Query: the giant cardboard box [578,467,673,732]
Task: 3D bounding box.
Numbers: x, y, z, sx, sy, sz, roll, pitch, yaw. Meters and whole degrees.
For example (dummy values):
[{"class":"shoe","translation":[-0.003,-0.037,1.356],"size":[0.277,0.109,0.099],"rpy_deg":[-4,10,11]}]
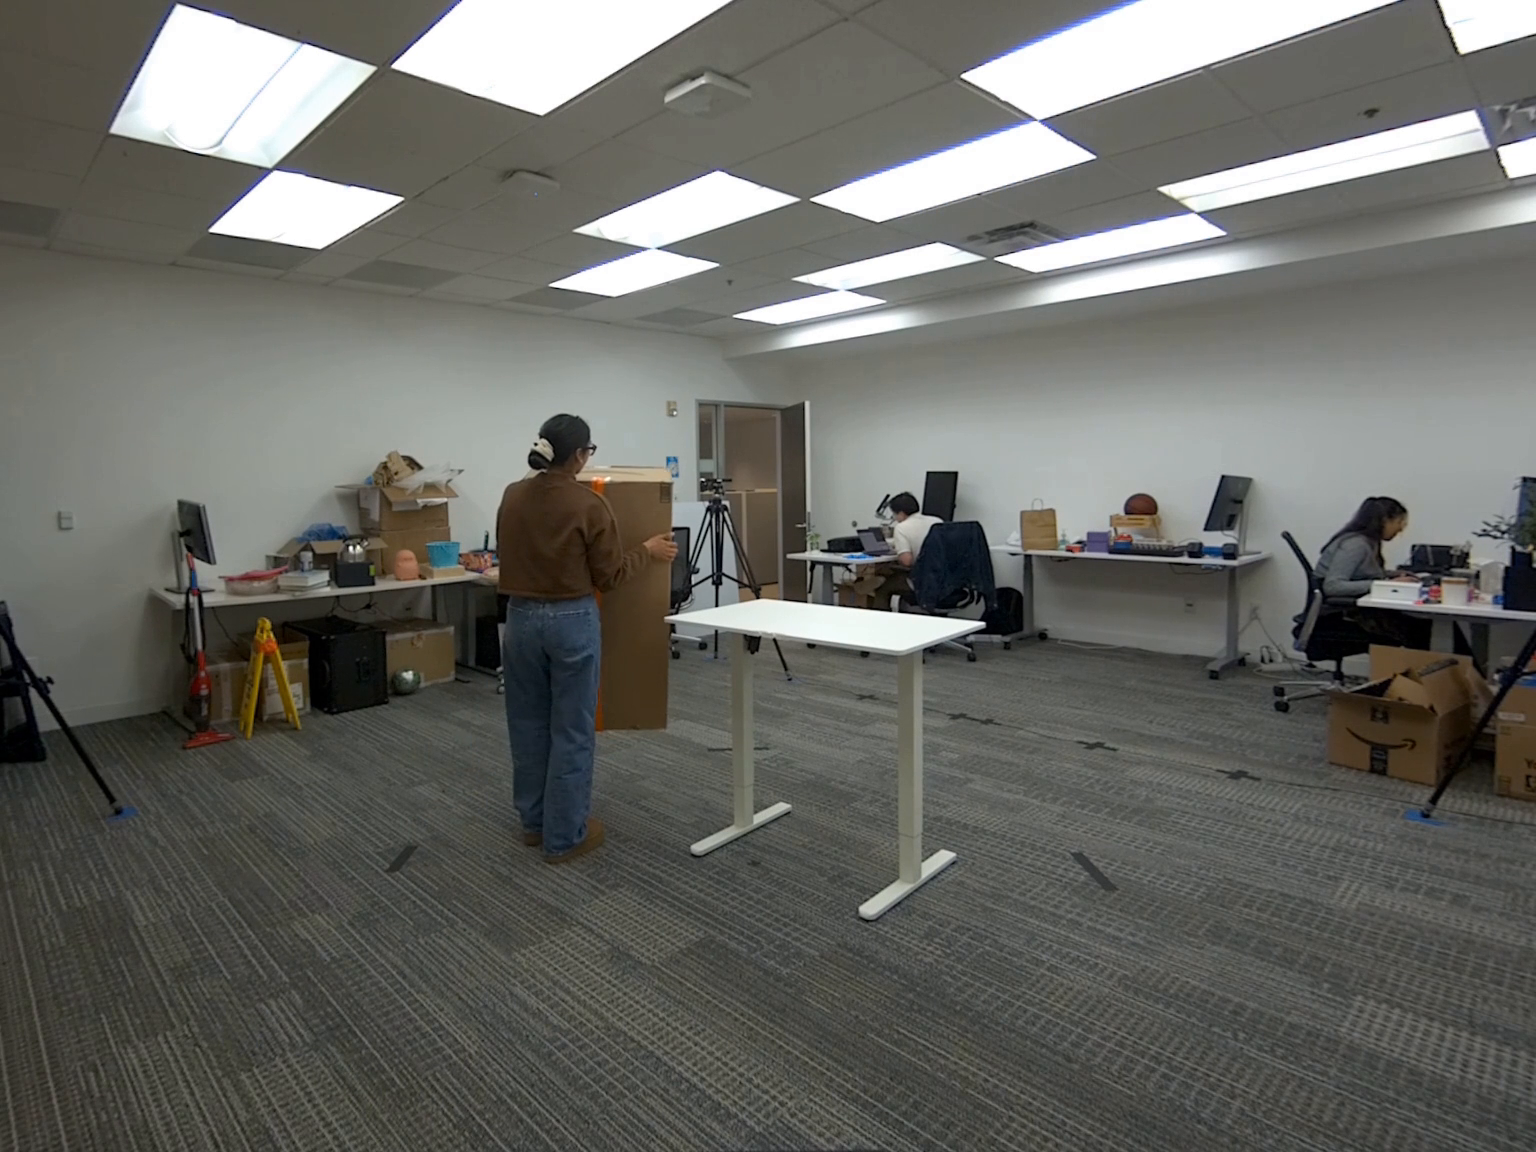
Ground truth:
[{"class":"giant cardboard box","translation":[-0.706,0.085,3.559],"size":[0.574,1.015,0.433],"rpy_deg":[0,12,-7]}]
